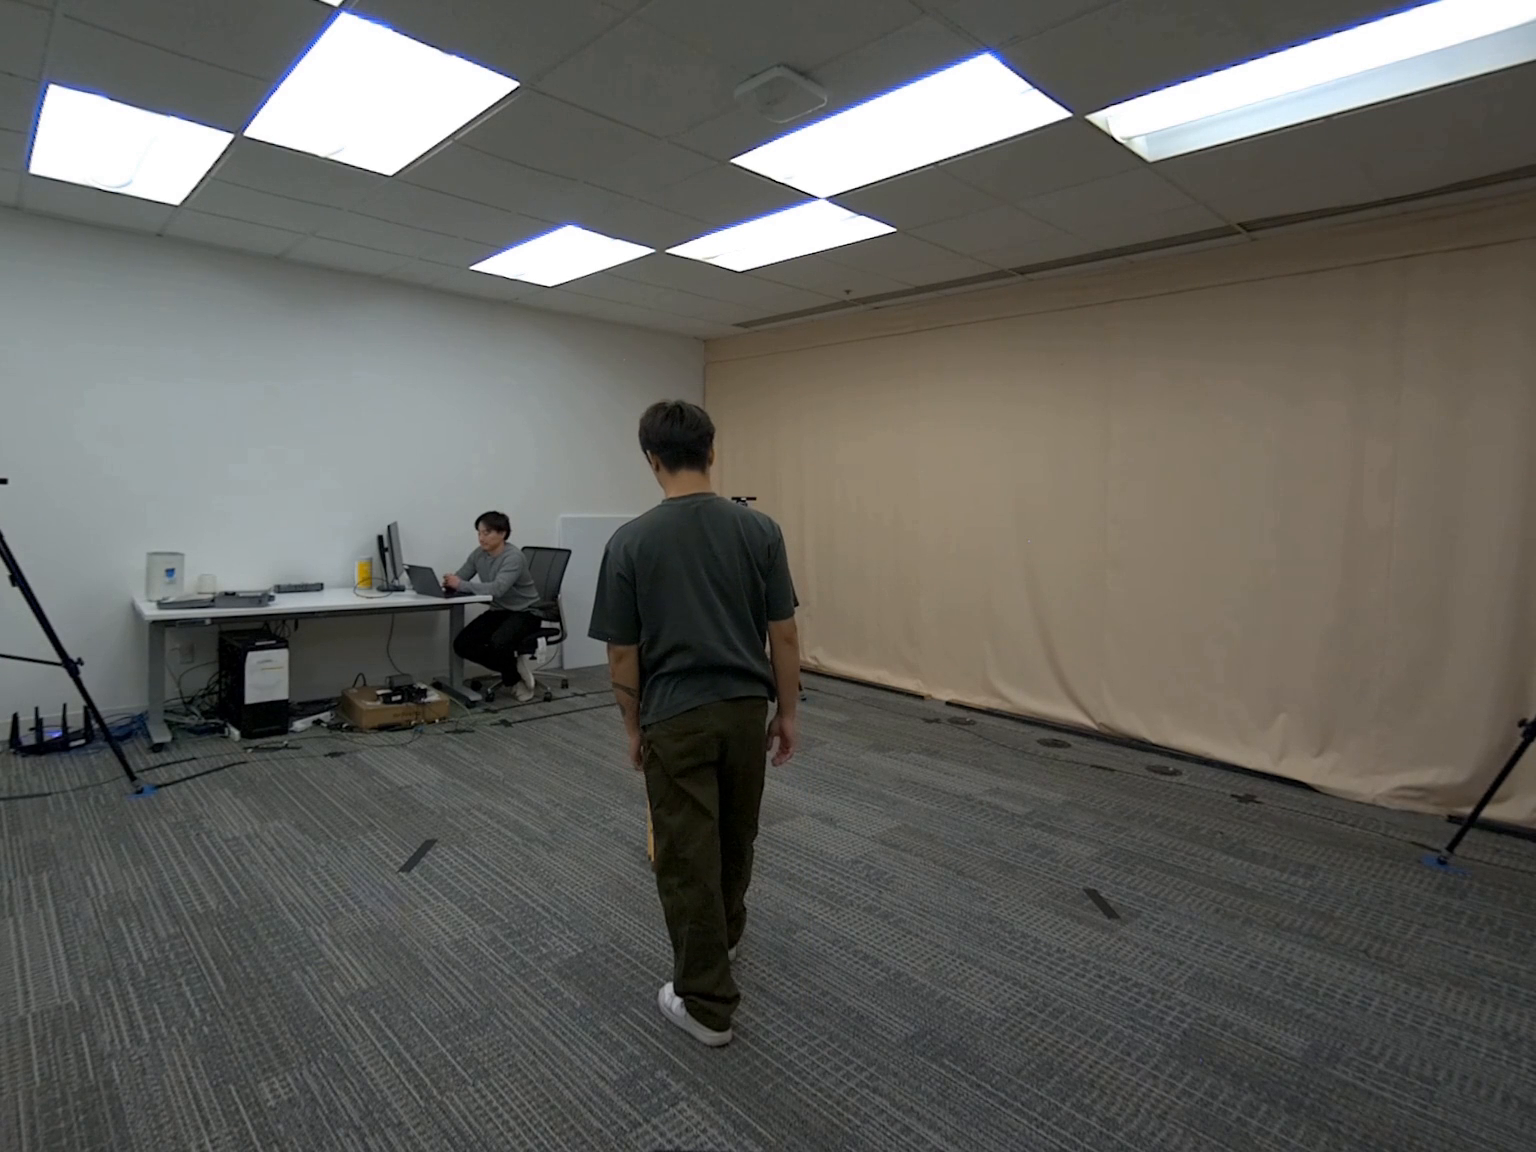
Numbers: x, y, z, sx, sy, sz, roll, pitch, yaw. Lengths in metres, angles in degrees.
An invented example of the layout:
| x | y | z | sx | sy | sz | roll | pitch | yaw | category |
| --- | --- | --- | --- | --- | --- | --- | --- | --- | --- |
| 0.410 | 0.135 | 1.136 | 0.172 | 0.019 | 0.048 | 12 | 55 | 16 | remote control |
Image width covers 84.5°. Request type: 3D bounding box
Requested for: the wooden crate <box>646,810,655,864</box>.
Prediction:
| x | y | z | sx | sy | sz | roll | pitch | yaw | category |
| --- | --- | --- | --- | --- | --- | --- | --- | --- | --- |
| -0.307 | 0.959 | 3.270 | 0.322 | 0.272 | 0.305 | 1 | 4 | -9 | wooden crate |
